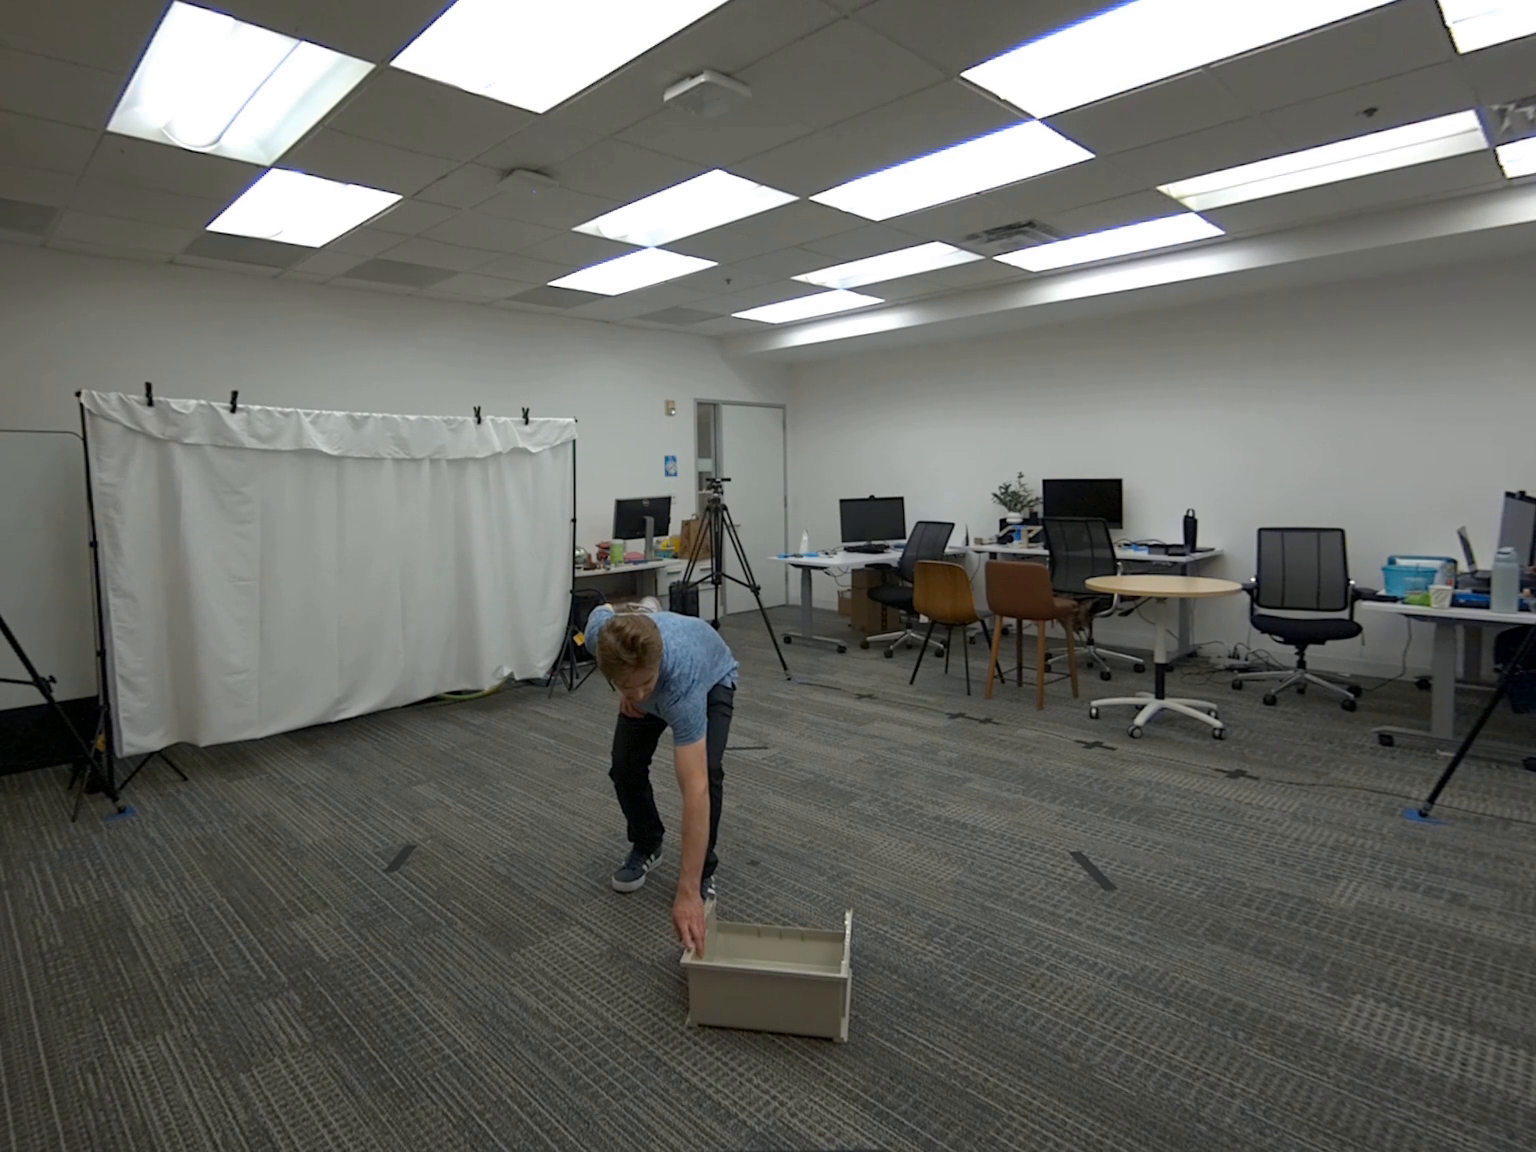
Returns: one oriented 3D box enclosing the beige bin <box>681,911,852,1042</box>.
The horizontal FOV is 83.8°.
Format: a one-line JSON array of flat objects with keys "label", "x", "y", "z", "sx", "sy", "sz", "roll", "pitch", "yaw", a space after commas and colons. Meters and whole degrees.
[{"label": "beige bin", "x": 0.014, "y": 1.044, "z": 2.314, "sx": 0.426, "sy": 0.188, "sz": 0.376, "roll": 0, "pitch": 7, "yaw": 9}]
